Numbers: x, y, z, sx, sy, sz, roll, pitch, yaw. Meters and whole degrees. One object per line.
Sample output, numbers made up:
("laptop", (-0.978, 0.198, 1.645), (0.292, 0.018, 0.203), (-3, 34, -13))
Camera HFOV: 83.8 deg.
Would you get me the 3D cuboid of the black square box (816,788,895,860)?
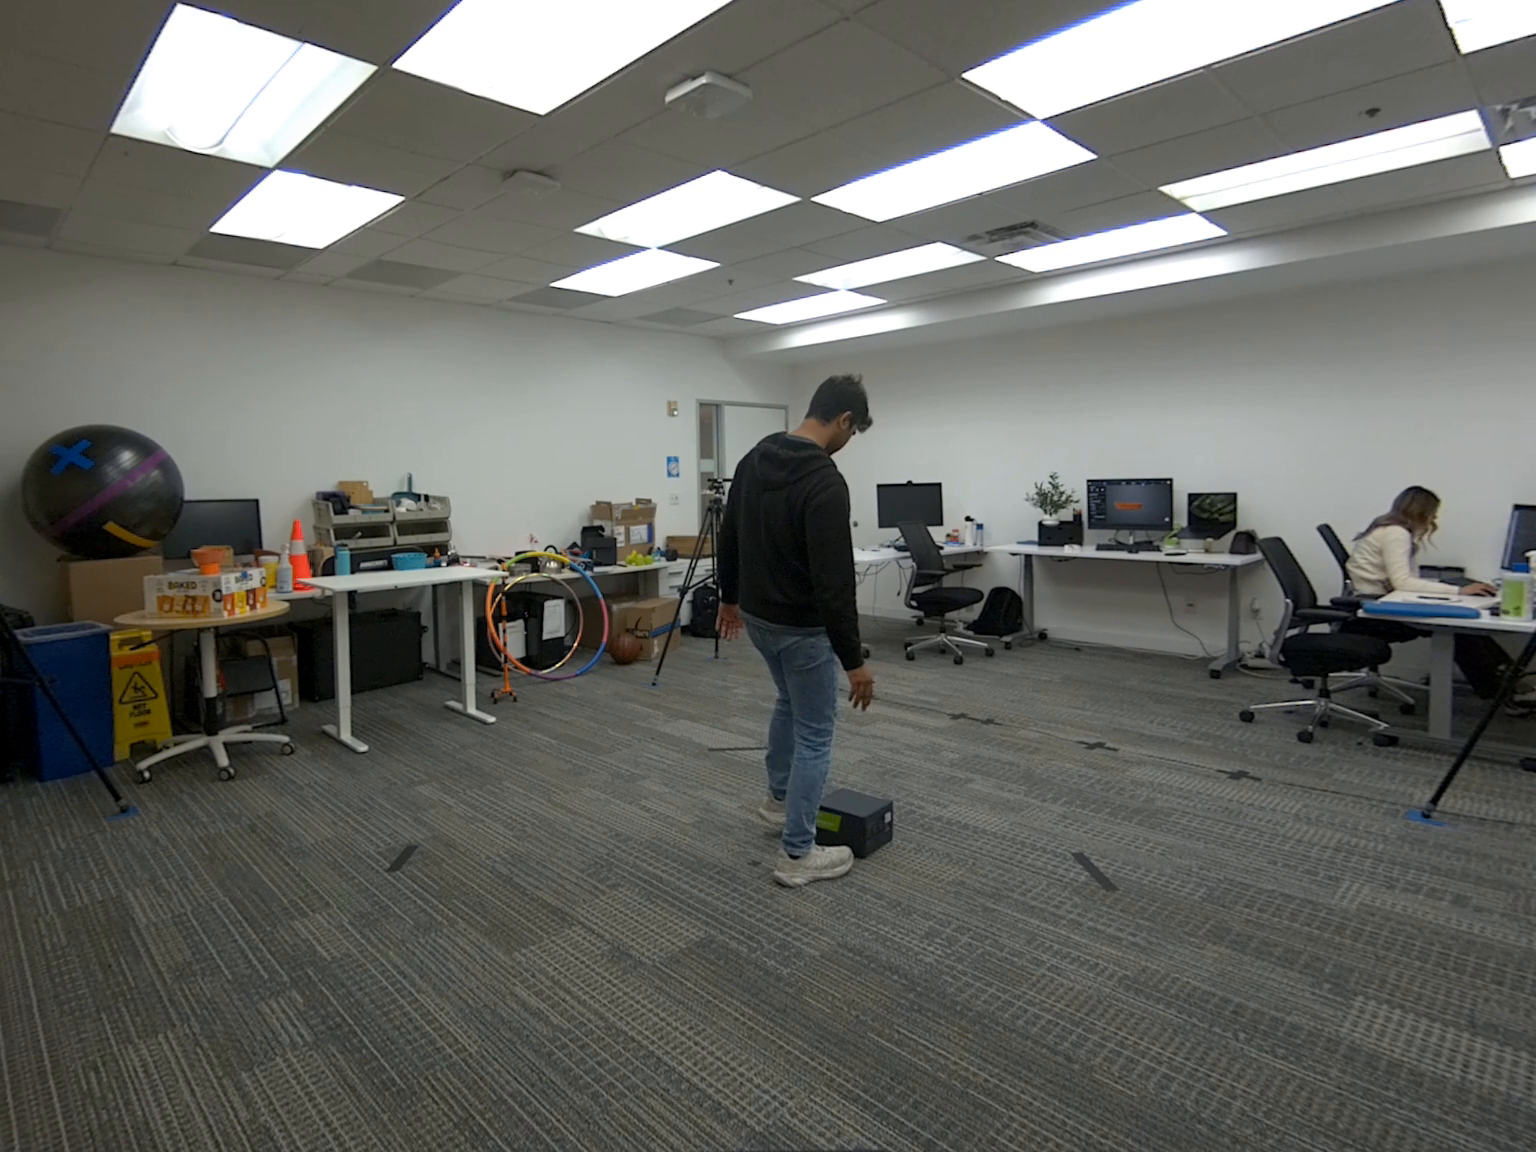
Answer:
("black square box", (0.322, 0.936, 3.268), (0.235, 0.155, 0.211), (3, 7, 38))
